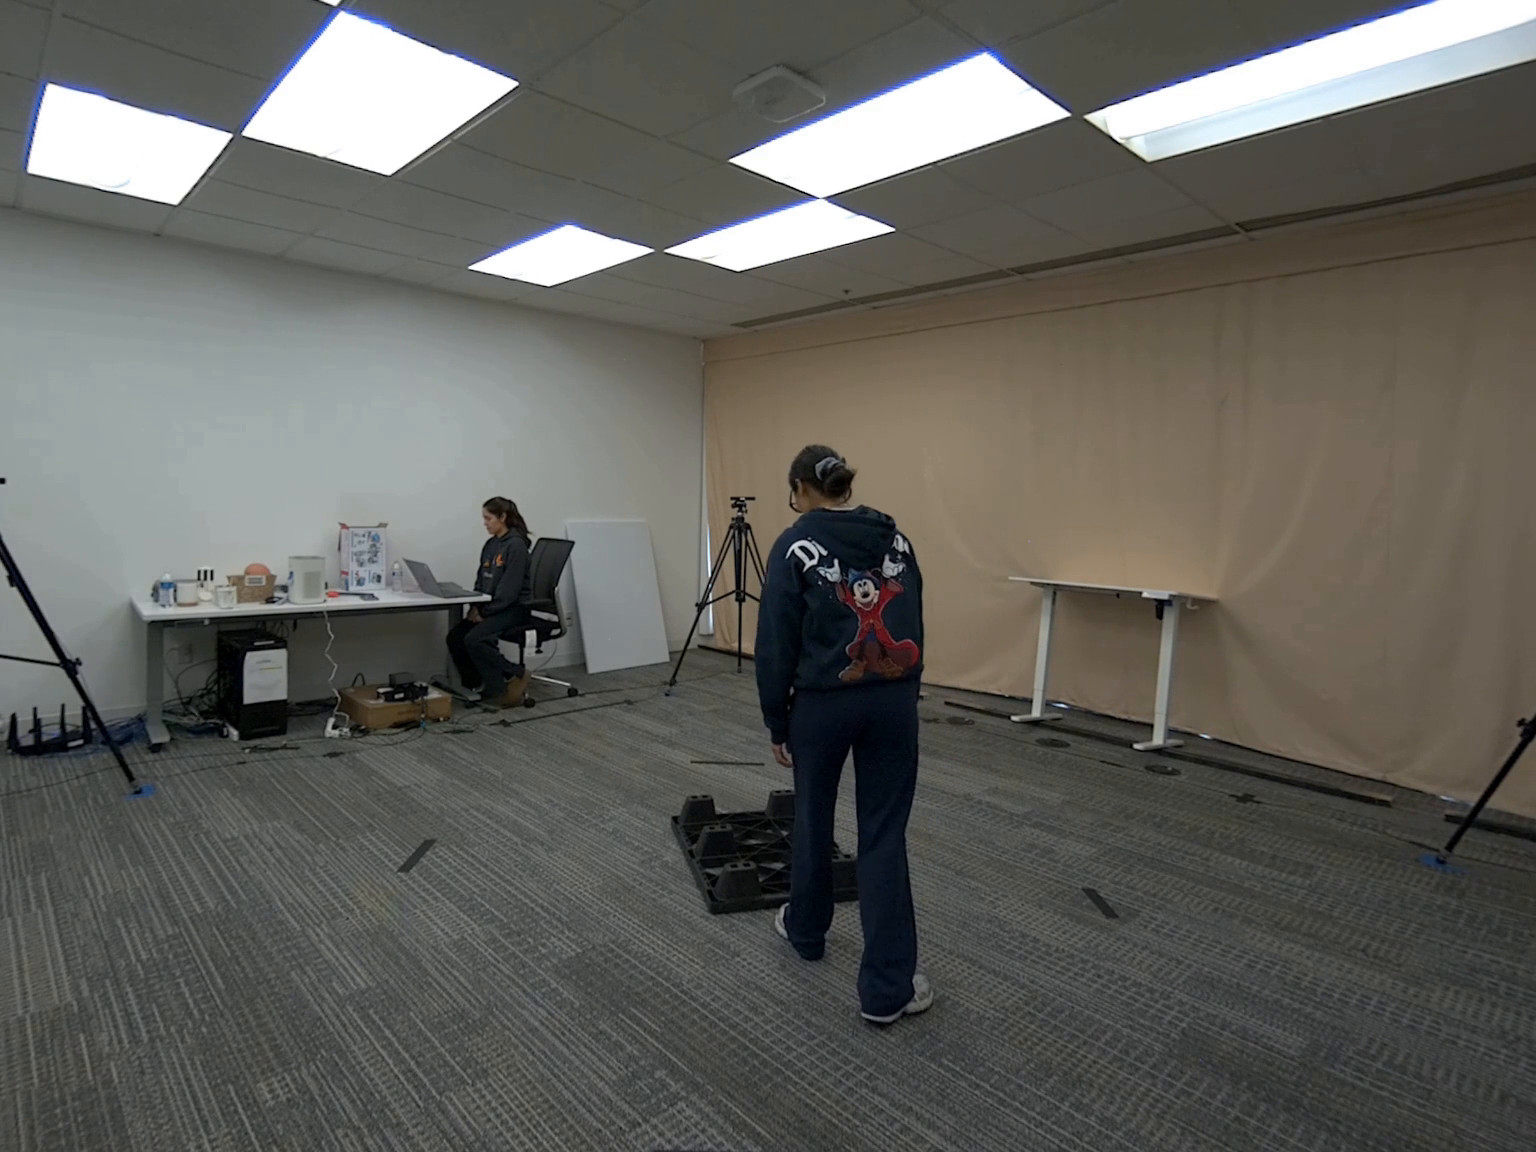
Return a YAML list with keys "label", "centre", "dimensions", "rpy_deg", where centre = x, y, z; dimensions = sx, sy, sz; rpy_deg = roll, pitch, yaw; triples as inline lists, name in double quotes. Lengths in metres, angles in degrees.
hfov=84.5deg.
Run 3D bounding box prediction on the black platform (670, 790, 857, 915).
- label: "black platform"
  centre: [-0.026, 1.024, 3.263]
  dimensions: [0.597, 0.143, 0.818]
  rpy_deg: [0, 5, -17]
